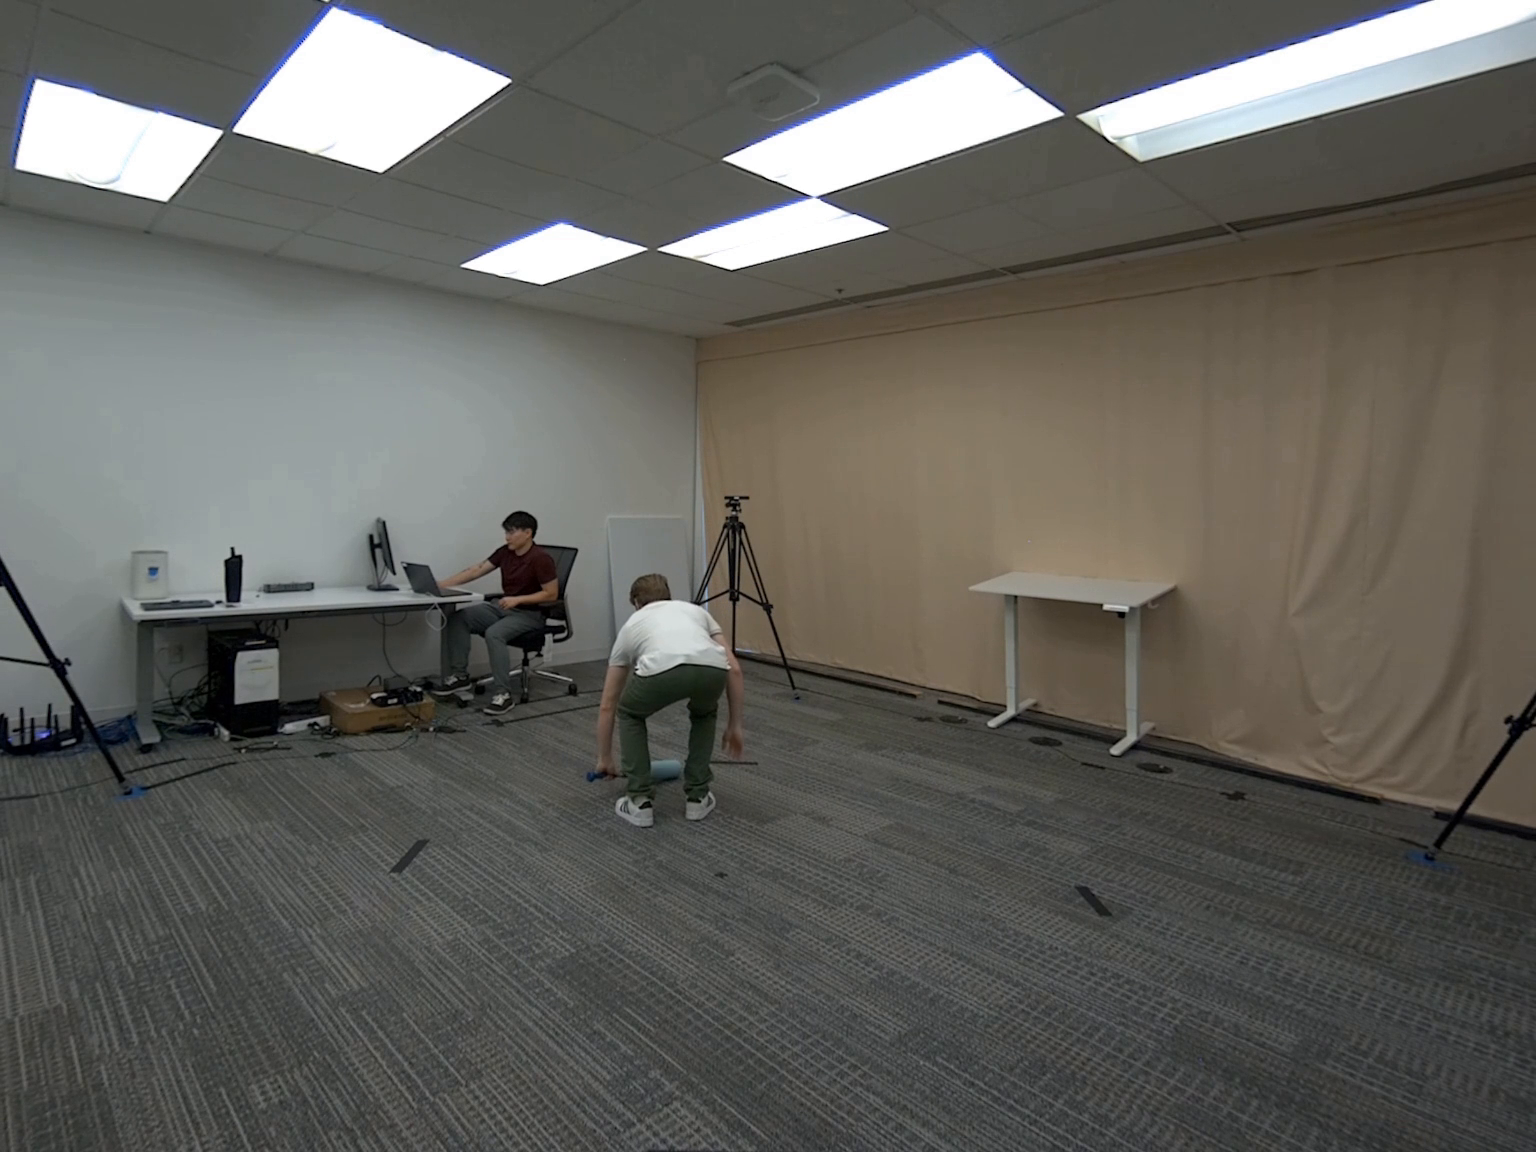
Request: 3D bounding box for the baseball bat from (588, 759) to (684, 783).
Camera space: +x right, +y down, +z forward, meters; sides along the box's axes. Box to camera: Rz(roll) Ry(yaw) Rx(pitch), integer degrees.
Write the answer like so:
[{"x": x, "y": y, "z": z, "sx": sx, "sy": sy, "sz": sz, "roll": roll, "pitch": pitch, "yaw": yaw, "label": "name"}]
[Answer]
[{"x": -0.636, "y": 0.932, "z": 4.016, "sx": 0.529, "sy": 0.089, "sz": 0.091, "roll": 7, "pitch": -1, "yaw": -44, "label": "baseball bat"}]
